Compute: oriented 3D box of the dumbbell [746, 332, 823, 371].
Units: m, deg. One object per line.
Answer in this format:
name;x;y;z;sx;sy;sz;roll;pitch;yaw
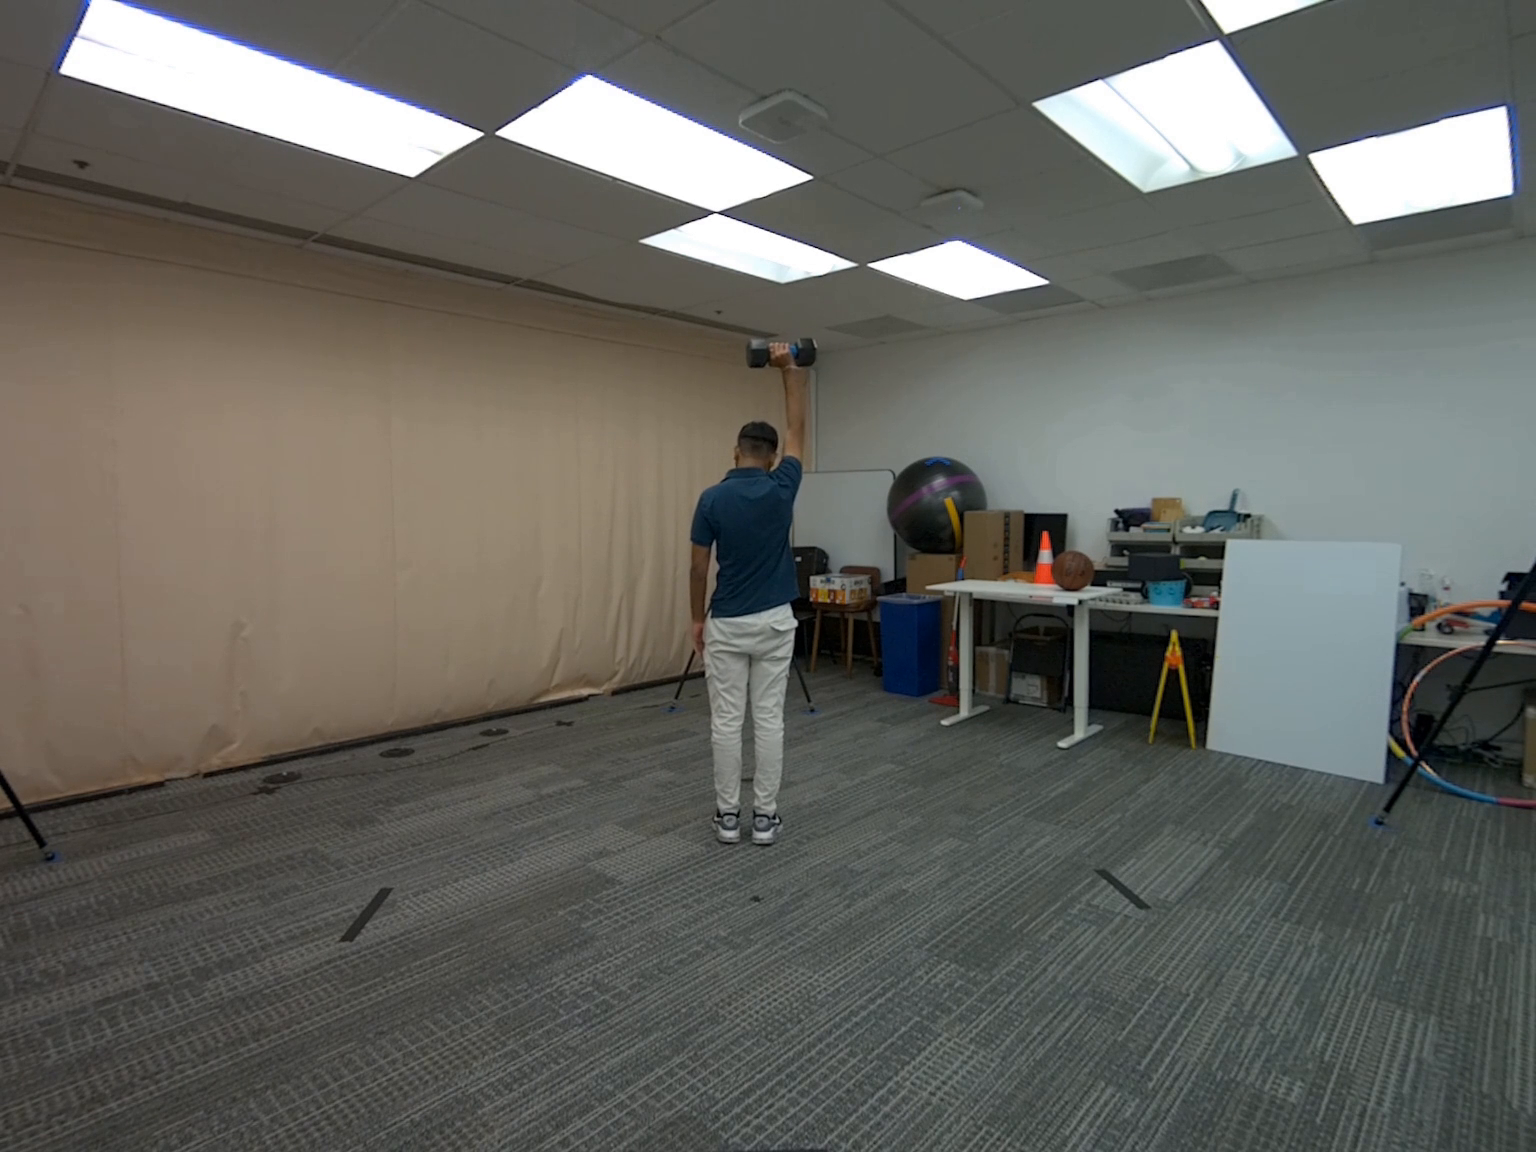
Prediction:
dumbbell;0.066;-0.958;3.607;0.291;0.109;0.123;-4;-5;-7
